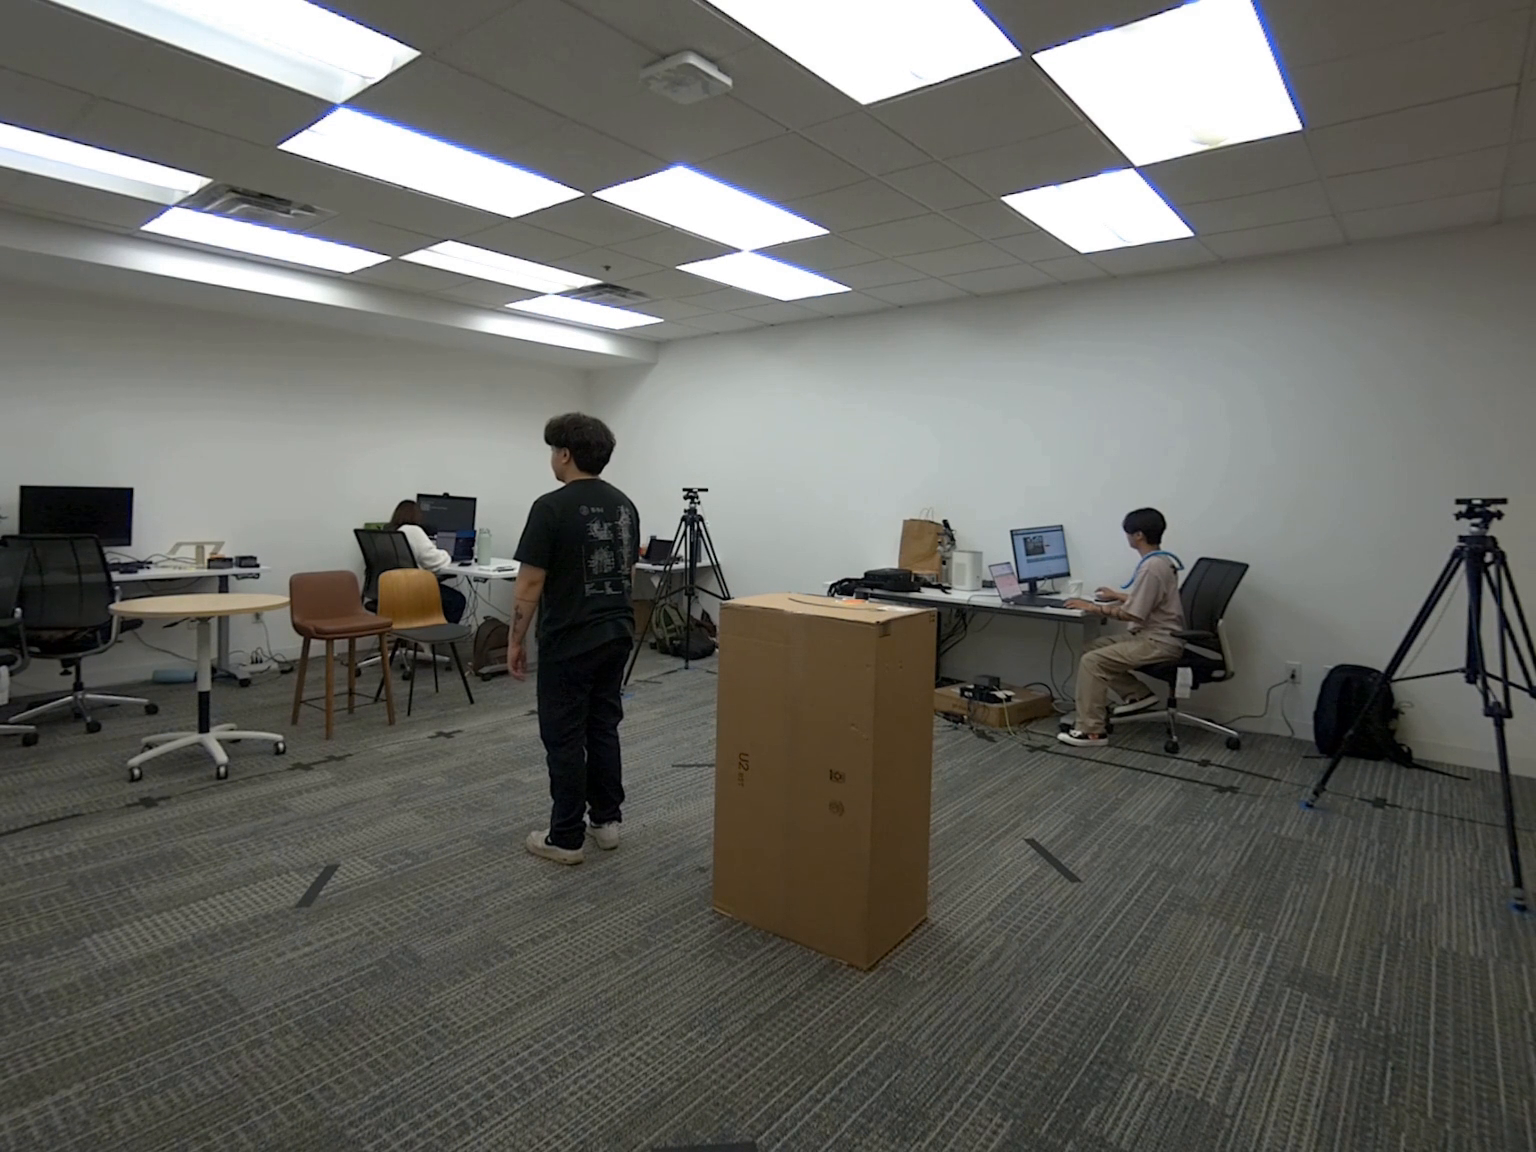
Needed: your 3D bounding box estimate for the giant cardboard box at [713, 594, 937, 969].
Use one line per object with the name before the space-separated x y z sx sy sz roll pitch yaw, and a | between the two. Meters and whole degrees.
giant cardboard box | 0.176 0.599 2.780 0.603 1.025 0.433 4 3 37
